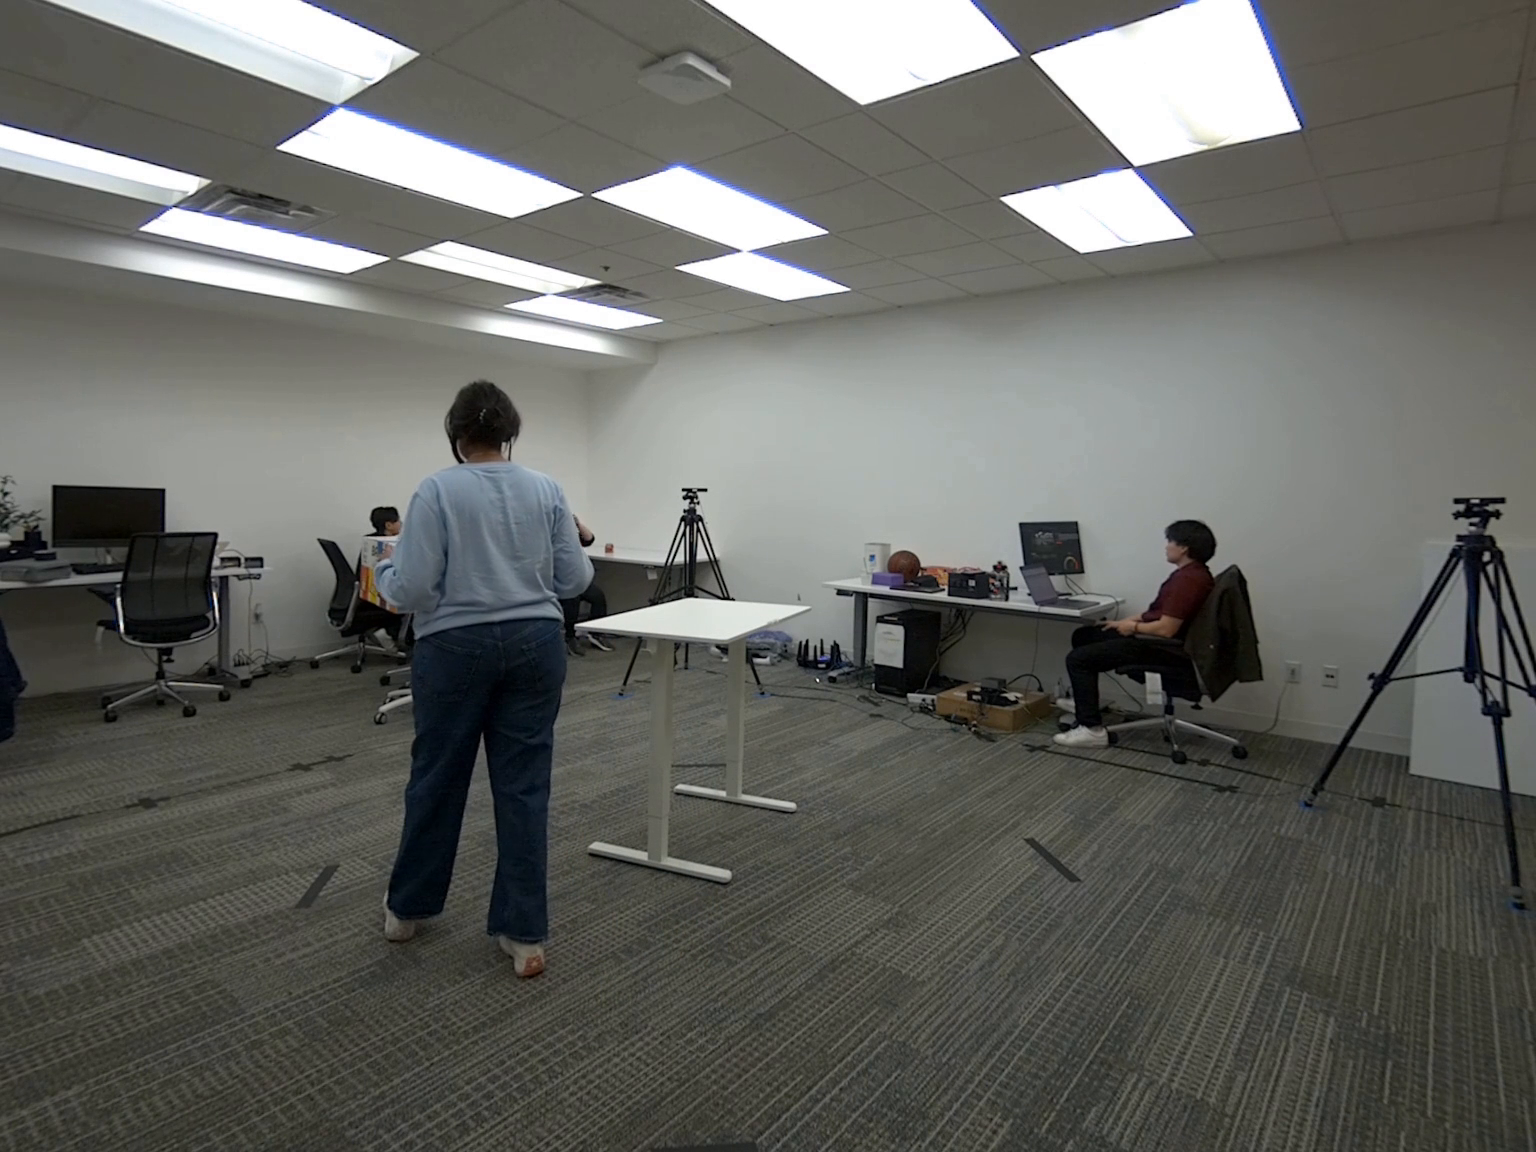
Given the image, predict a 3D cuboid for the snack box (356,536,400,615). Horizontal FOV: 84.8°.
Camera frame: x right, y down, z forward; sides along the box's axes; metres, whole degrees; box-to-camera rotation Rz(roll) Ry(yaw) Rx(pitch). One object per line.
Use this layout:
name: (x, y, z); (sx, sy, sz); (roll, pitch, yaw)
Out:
snack box: (-1.086, -0.018, 2.802); (0.393, 0.205, 0.353); (-2, 9, -42)
